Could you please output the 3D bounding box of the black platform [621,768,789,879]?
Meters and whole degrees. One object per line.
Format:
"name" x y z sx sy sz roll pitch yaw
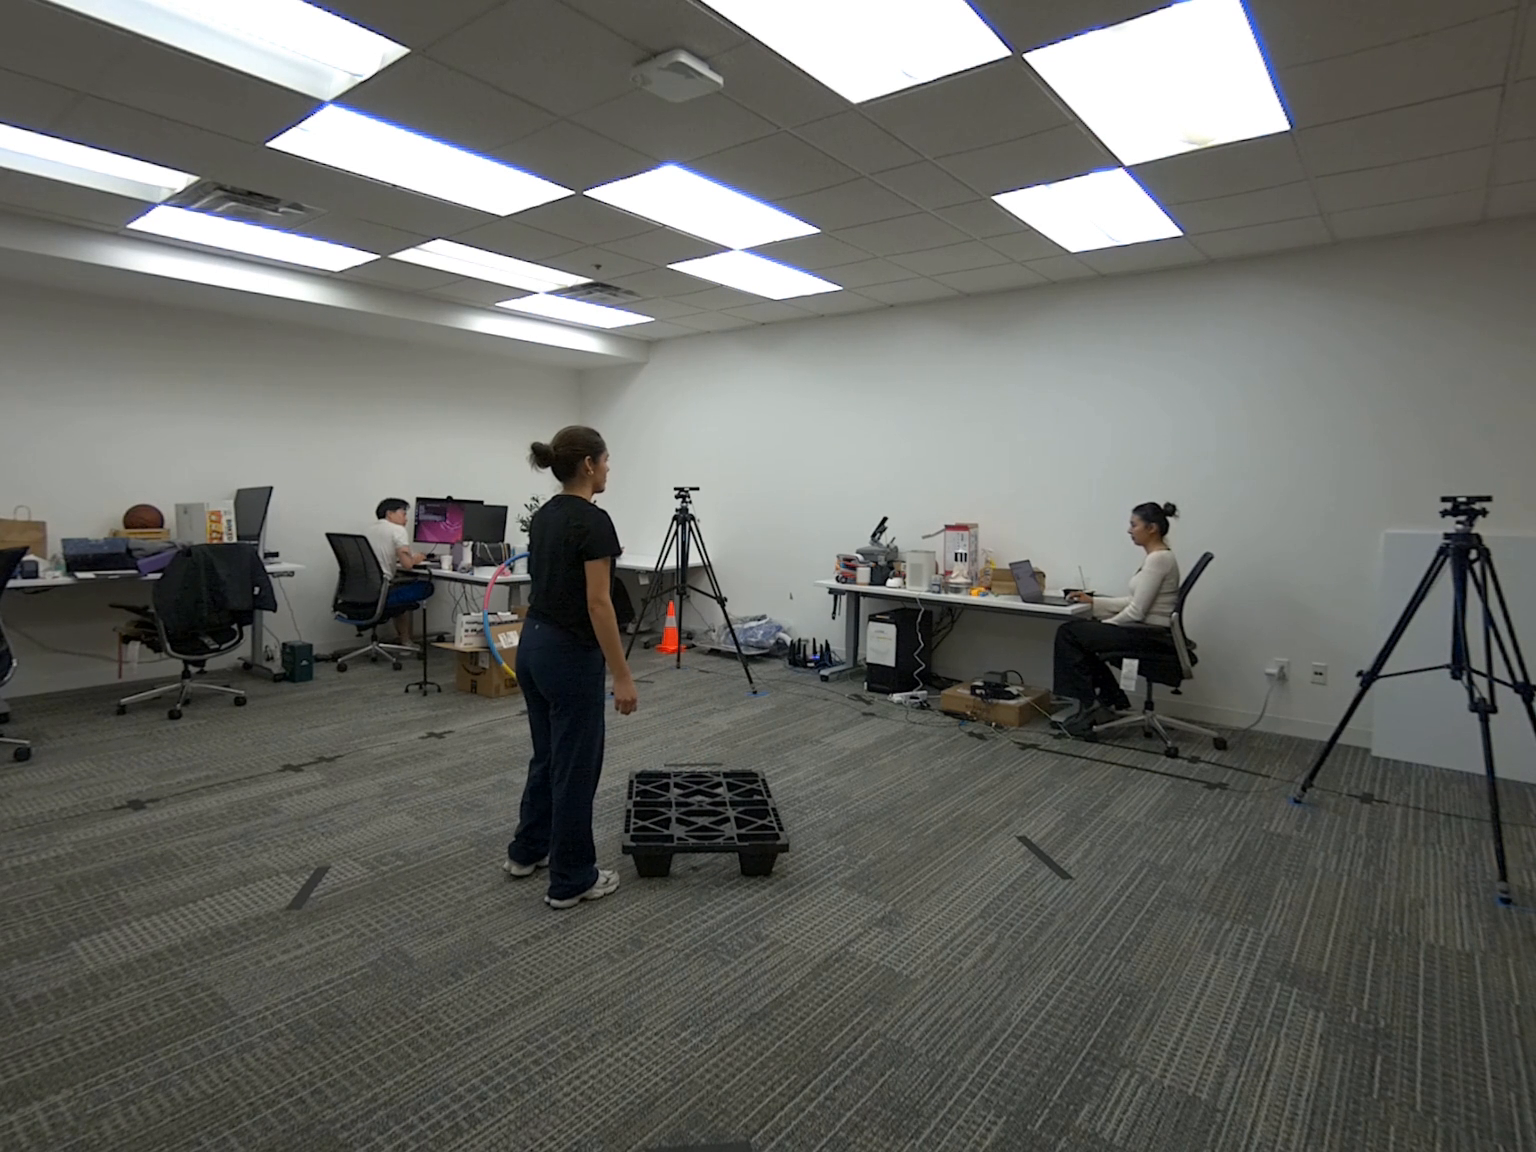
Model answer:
"black platform" -0.249 0.965 3.417 0.602 0.143 0.813 1 6 -6
